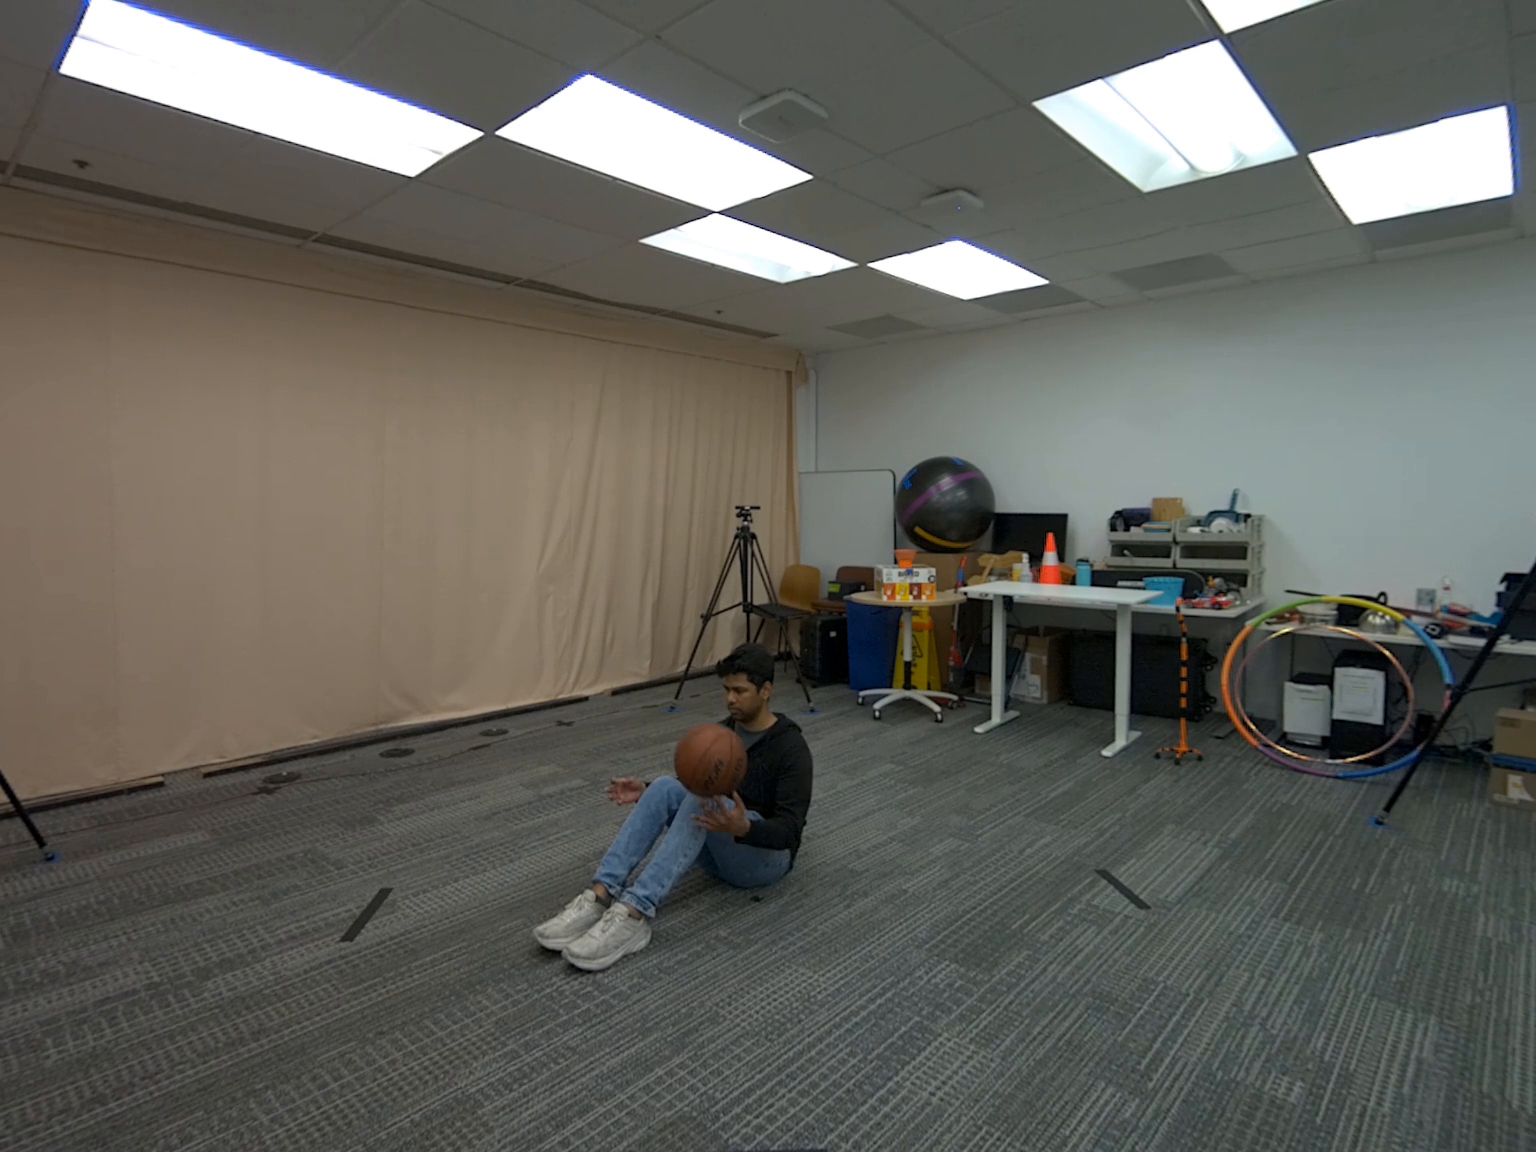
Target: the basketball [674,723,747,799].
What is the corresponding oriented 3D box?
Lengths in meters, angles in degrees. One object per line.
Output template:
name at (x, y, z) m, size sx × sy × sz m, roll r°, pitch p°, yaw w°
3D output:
basketball at (-0.192, 0.628, 2.764) m, size 0.236 × 0.235 × 0.237 m, roll 0°, pitch 4°, yaw -2°
